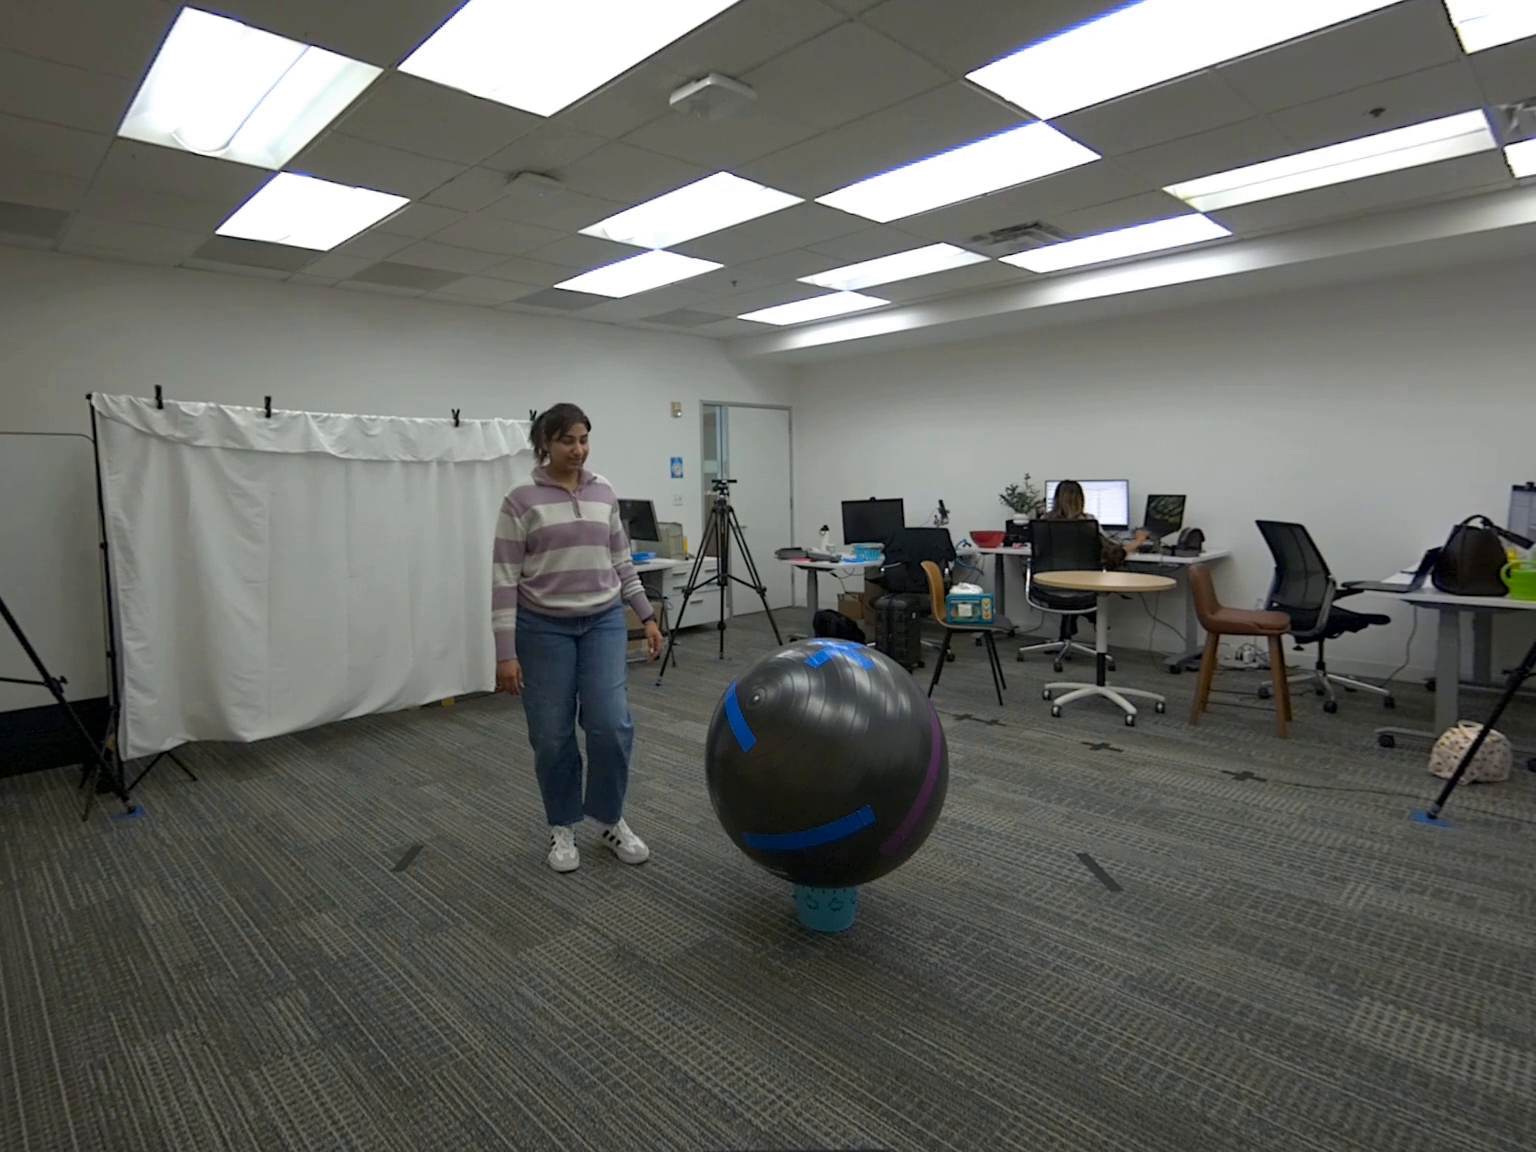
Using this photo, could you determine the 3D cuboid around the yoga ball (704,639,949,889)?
[{"bbox_3d":[0.182,0.584,2.684,0.757,0.755,0.762,-1,5,-2],"label":"yoga ball"}]
